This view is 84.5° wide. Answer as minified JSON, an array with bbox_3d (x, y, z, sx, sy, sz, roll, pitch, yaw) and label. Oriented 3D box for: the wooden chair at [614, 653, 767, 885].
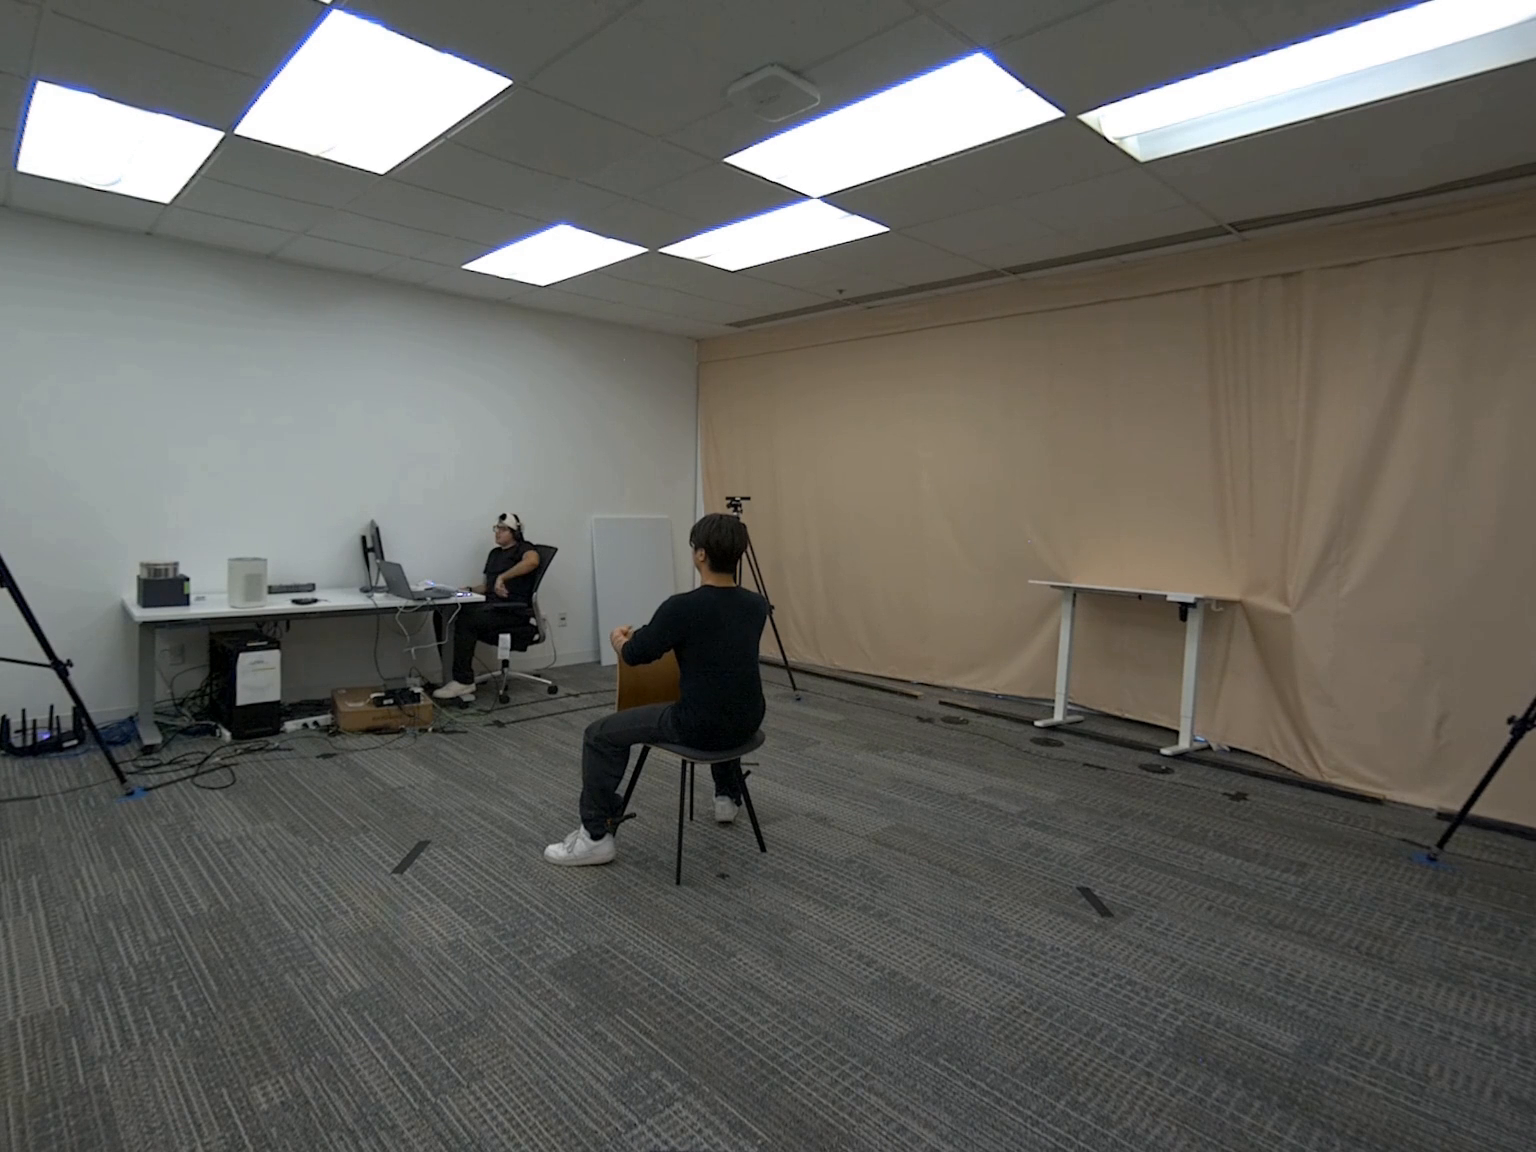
[{"bbox_3d":[-0.308,0.655,3.292,0.467,0.877,0.535,-2,1,-43],"label":"wooden chair"}]
